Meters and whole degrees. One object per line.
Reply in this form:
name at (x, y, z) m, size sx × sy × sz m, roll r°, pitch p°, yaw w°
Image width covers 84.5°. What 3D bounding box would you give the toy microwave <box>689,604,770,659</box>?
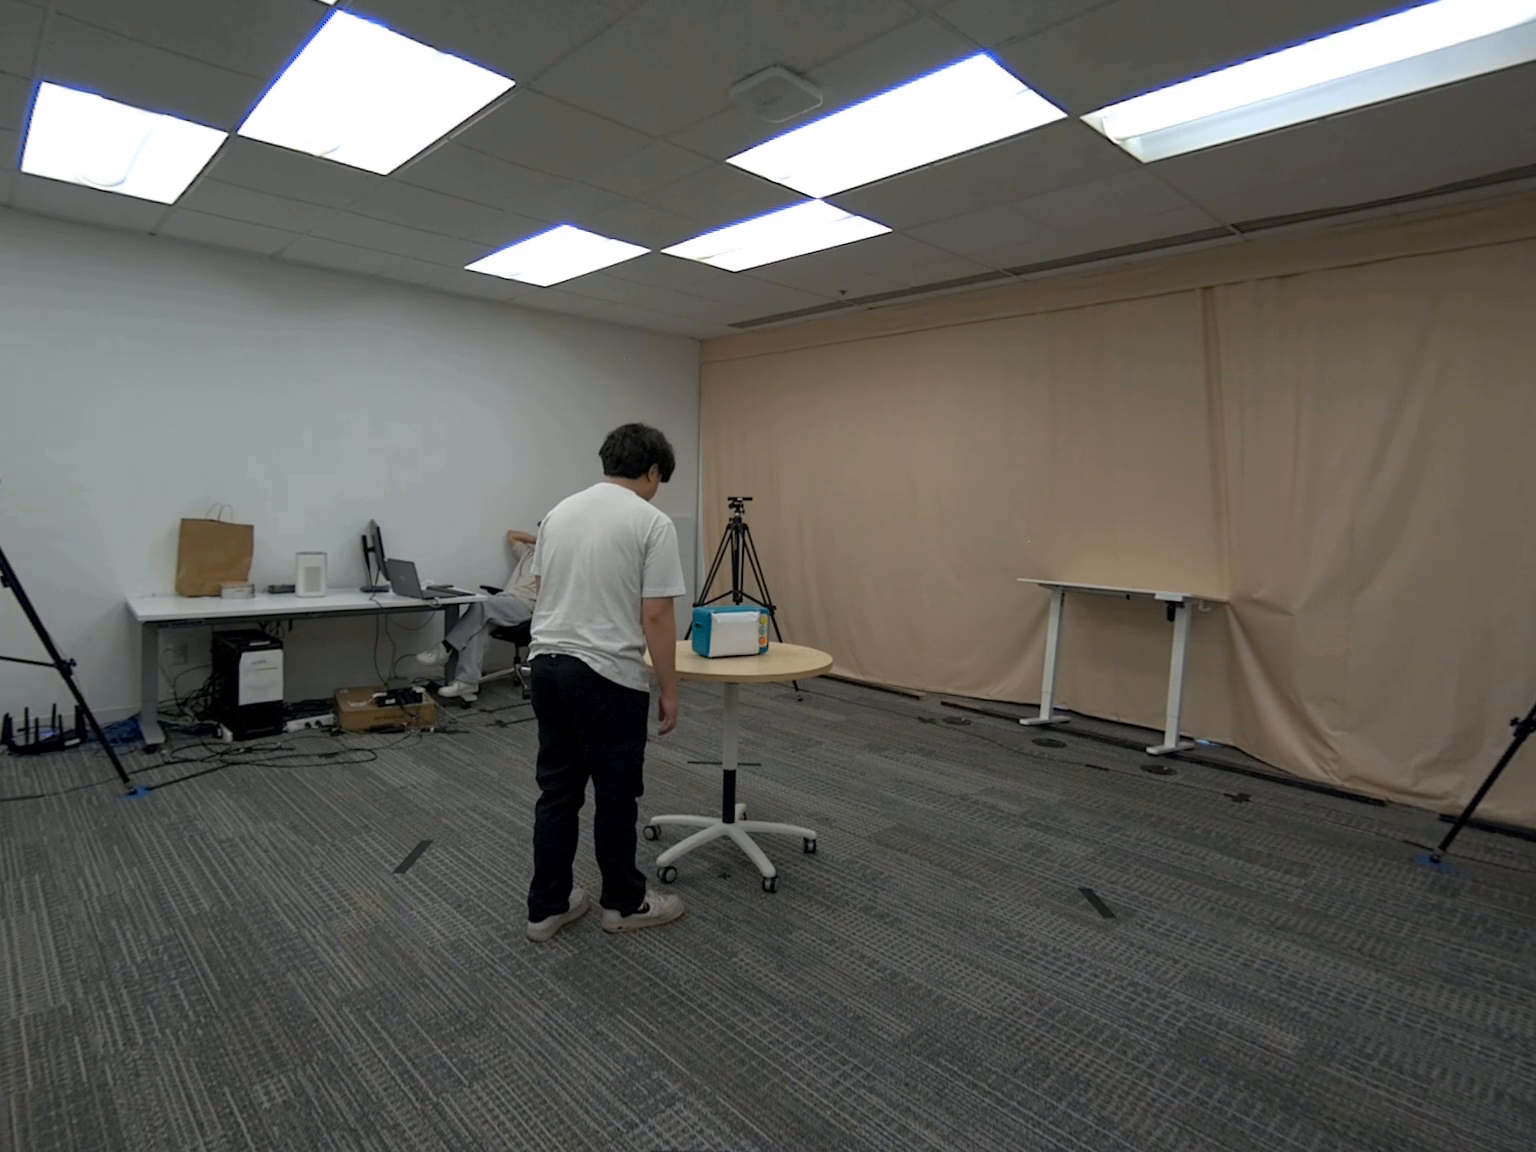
toy microwave at (-0.144, 0.212, 3.234) m, size 0.280 × 0.184 × 0.156 m, roll -1°, pitch 4°, yaw -31°
